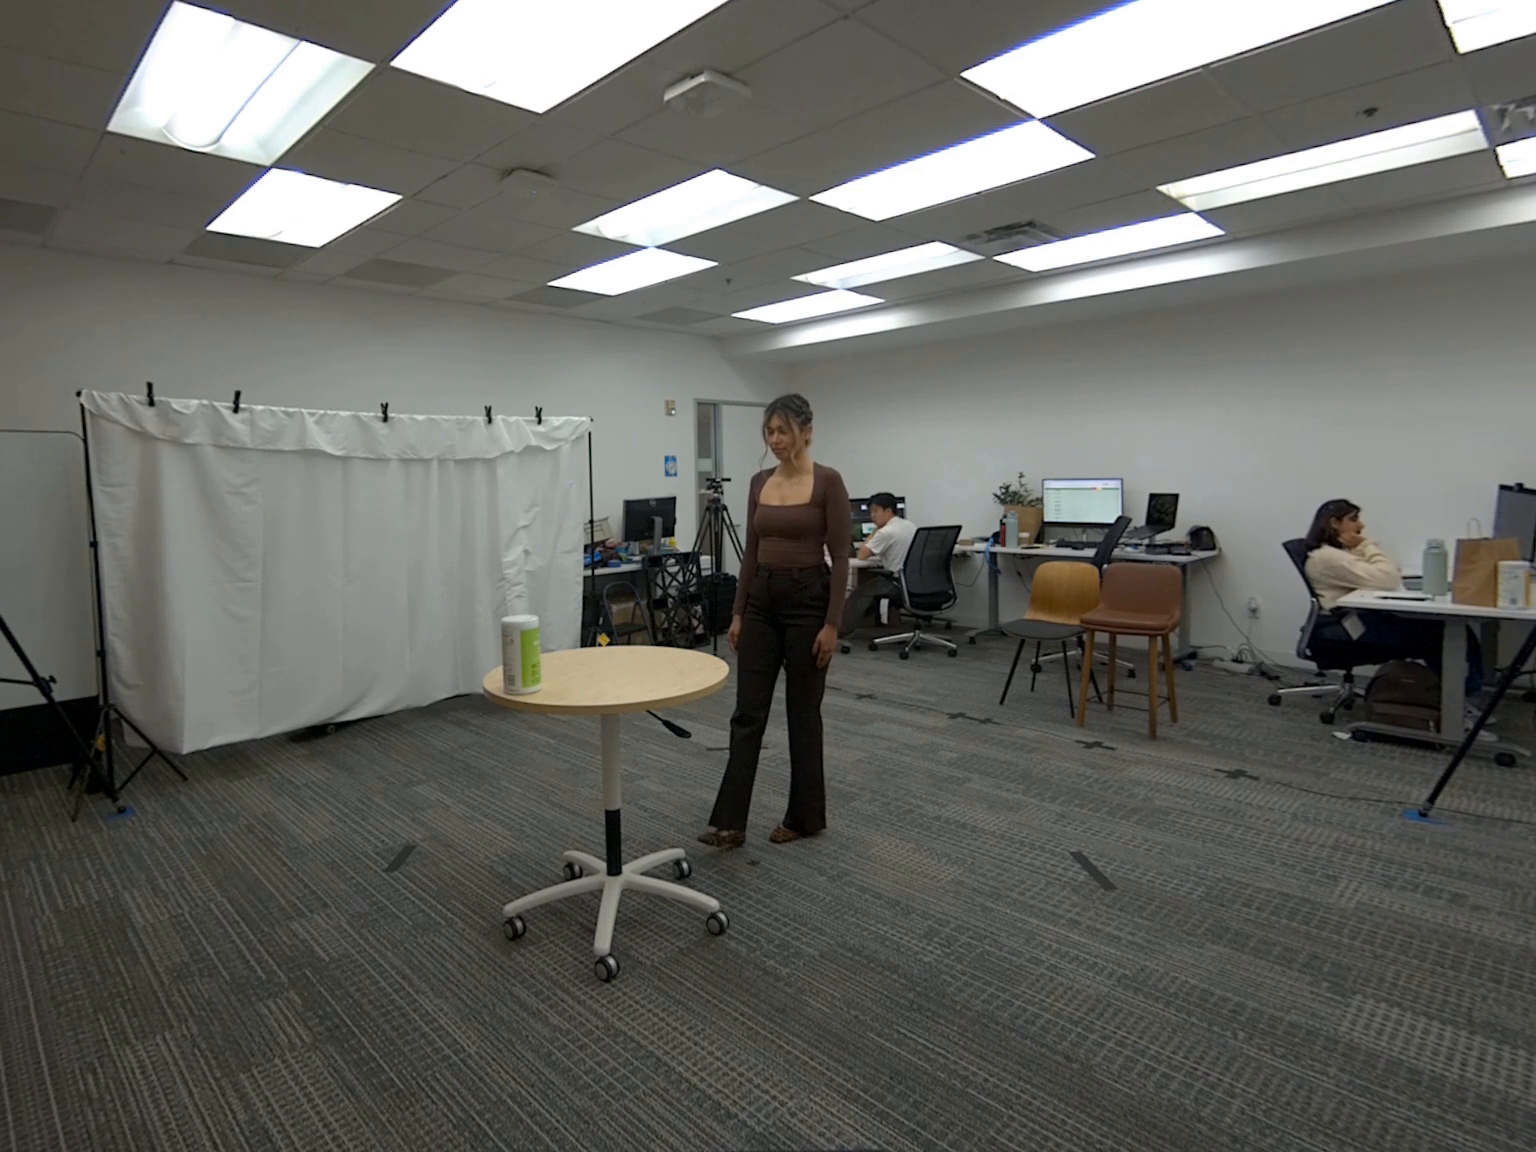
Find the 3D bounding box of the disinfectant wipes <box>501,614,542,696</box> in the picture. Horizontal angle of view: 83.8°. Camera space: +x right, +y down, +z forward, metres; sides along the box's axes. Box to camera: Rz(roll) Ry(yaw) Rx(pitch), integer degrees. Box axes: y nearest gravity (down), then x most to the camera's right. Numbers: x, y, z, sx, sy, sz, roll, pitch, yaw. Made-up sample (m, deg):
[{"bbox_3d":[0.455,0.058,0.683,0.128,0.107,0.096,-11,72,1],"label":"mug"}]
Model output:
[{"bbox_3d":[-0.717,0.231,2.469,0.118,0.216,0.118,-1,5,-2],"label":"disinfectant wipes"}]
